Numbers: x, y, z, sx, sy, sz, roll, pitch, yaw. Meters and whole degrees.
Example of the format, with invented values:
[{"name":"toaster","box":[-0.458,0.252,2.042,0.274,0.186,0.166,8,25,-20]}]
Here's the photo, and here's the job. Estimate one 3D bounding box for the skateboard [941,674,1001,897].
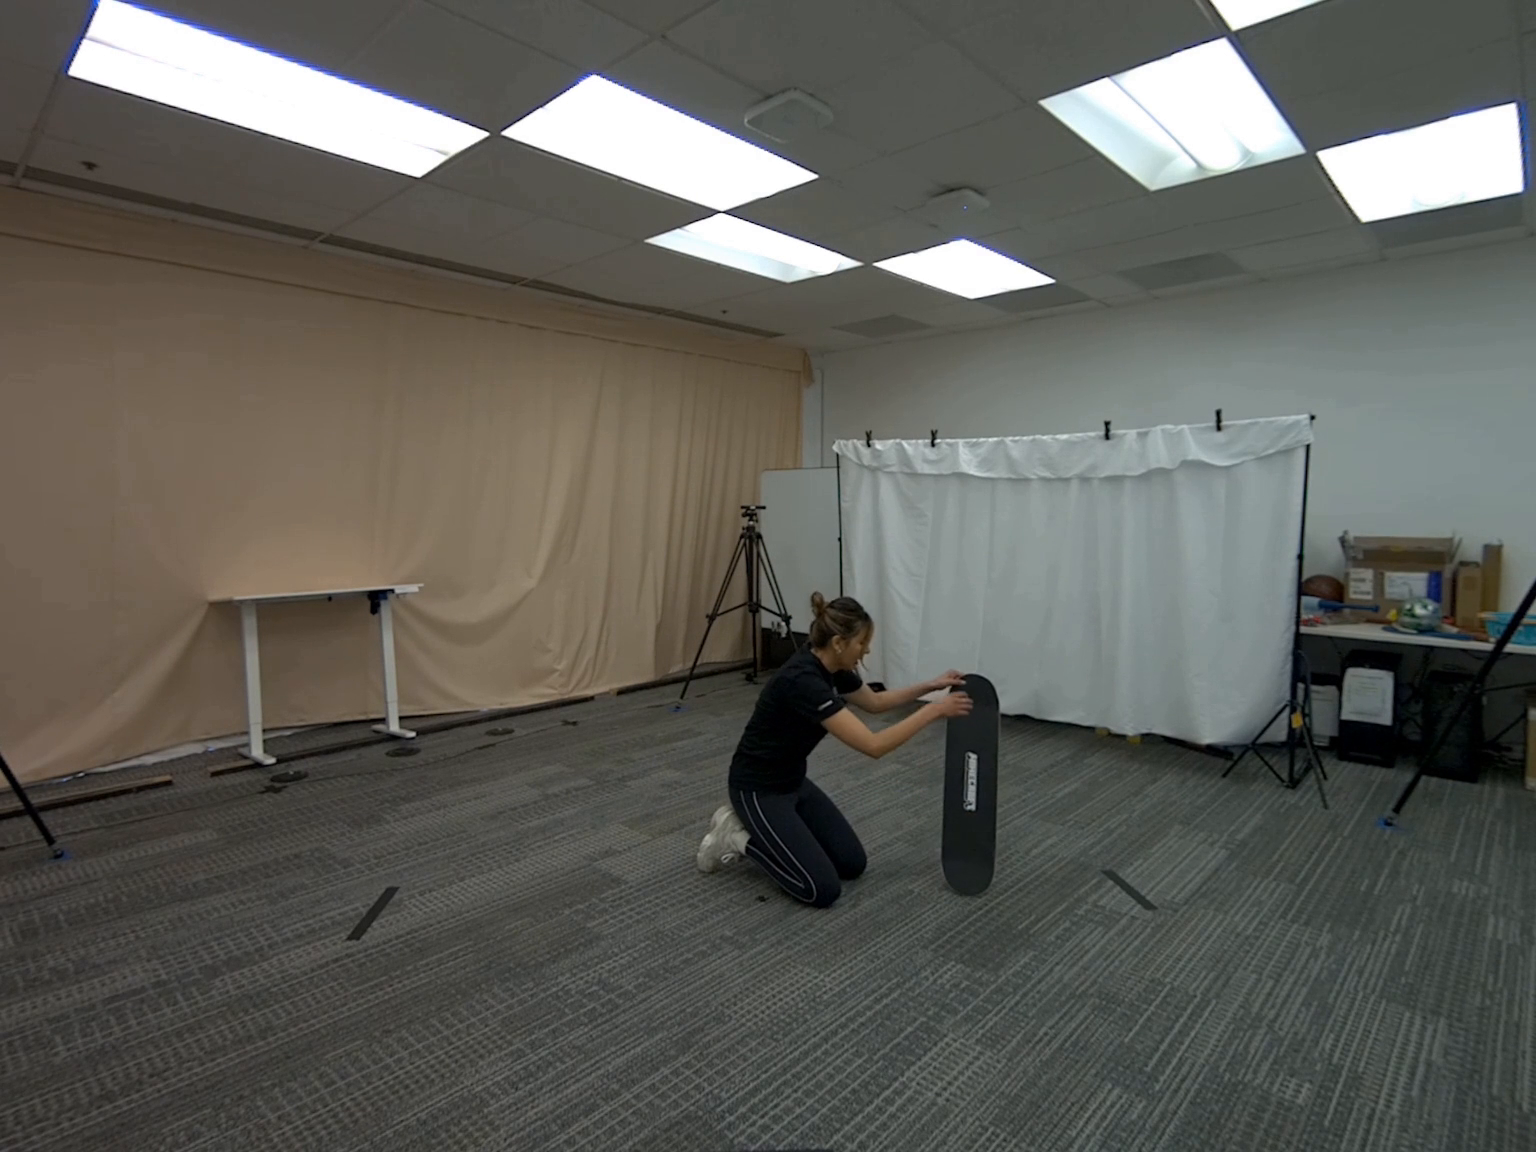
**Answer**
[{"name":"skateboard","box":[0.758,0.770,3.125,0.196,0.791,0.108,1,-14,14]}]
